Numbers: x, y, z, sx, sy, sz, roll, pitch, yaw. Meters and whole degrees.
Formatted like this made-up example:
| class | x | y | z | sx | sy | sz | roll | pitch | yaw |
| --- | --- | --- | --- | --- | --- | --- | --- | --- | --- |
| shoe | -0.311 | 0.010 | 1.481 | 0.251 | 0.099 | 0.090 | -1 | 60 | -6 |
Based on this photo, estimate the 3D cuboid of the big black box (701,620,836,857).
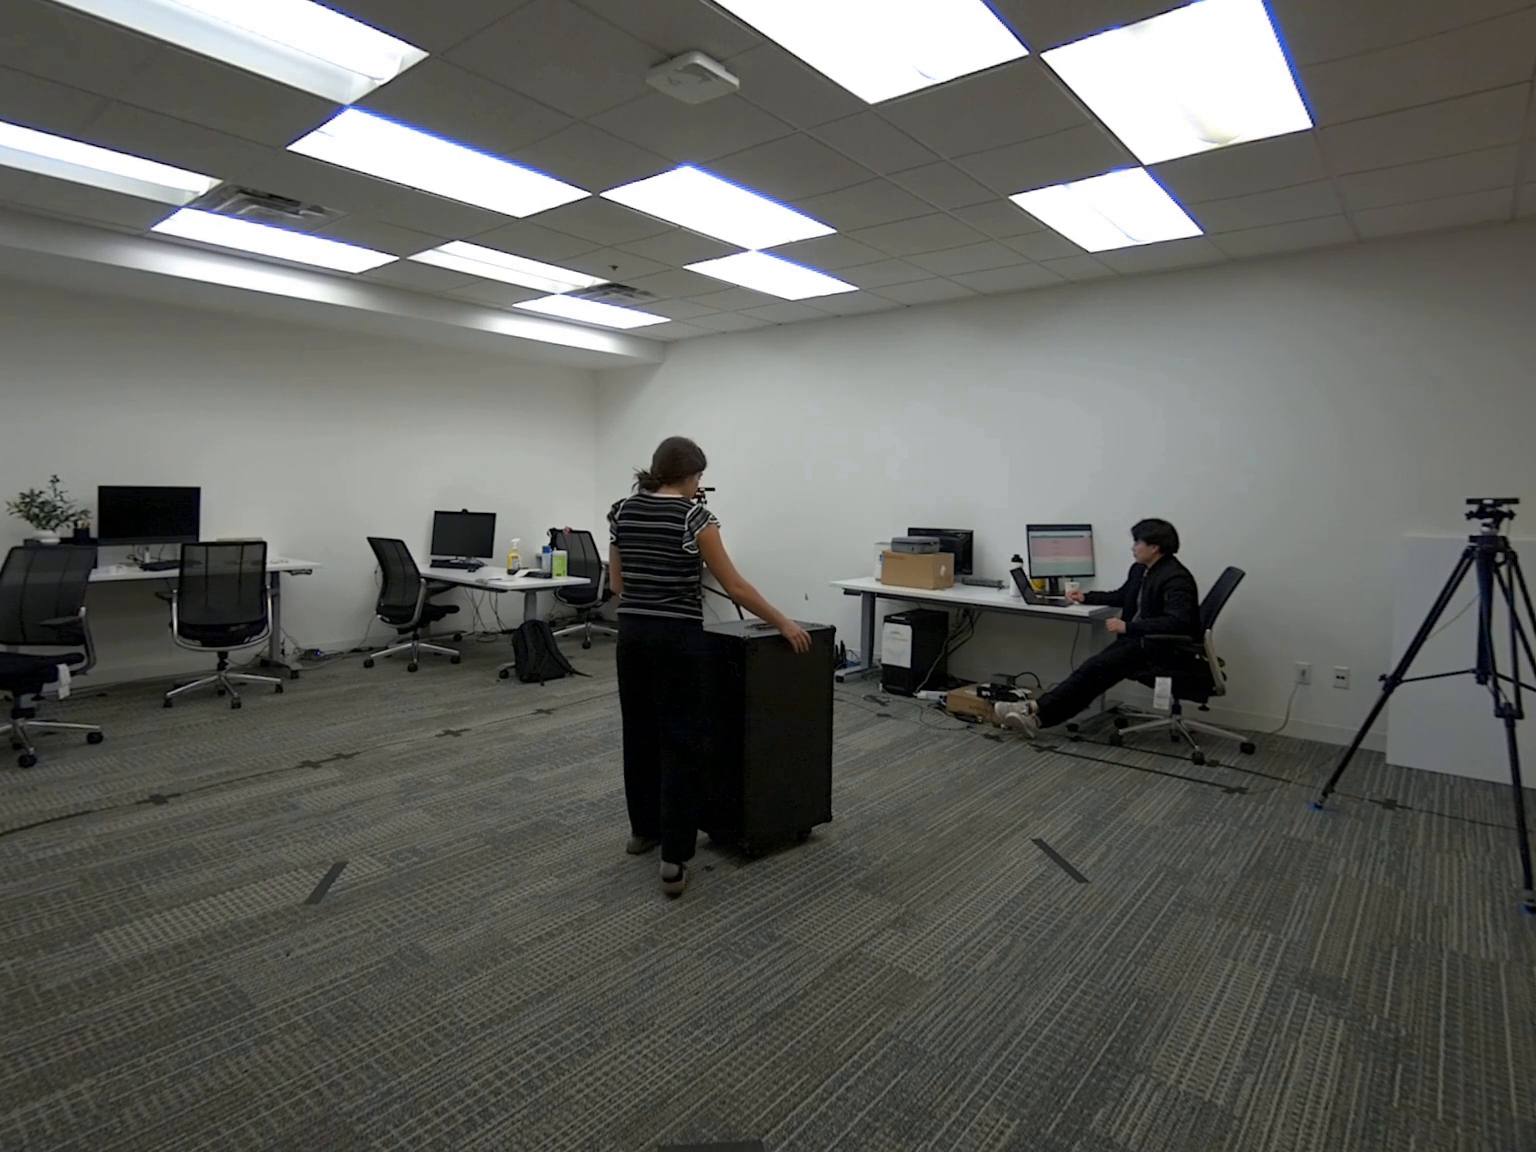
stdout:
| class | x | y | z | sx | sy | sz | roll | pitch | yaw |
| --- | --- | --- | --- | --- | --- | --- | --- | --- | --- |
| big black box | -0.050 | 0.619 | 3.373 | 0.505 | 0.860 | 0.409 | -1 | 3 | -42 |
